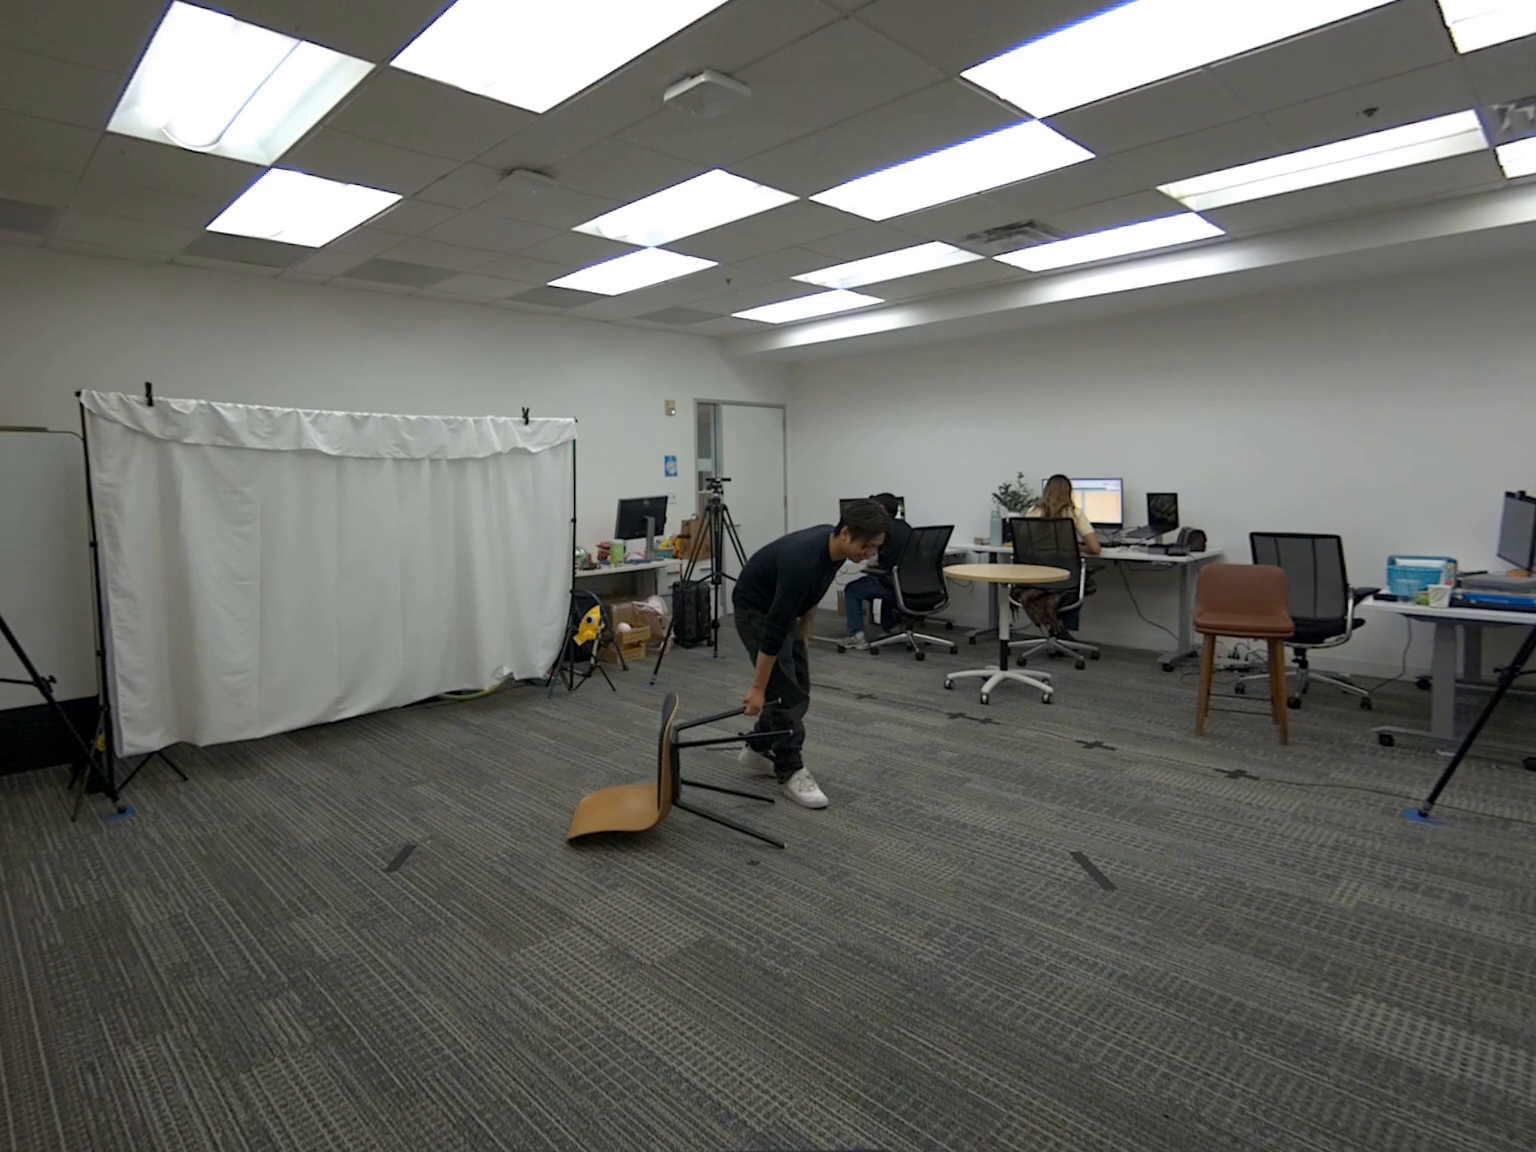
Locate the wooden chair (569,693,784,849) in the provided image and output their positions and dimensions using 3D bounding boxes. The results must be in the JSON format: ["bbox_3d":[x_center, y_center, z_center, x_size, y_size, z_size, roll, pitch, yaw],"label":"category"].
[{"bbox_3d":[-0.371,0.752,3.412,0.876,0.520,0.482,-3,6,-2],"label":"wooden chair"}]
